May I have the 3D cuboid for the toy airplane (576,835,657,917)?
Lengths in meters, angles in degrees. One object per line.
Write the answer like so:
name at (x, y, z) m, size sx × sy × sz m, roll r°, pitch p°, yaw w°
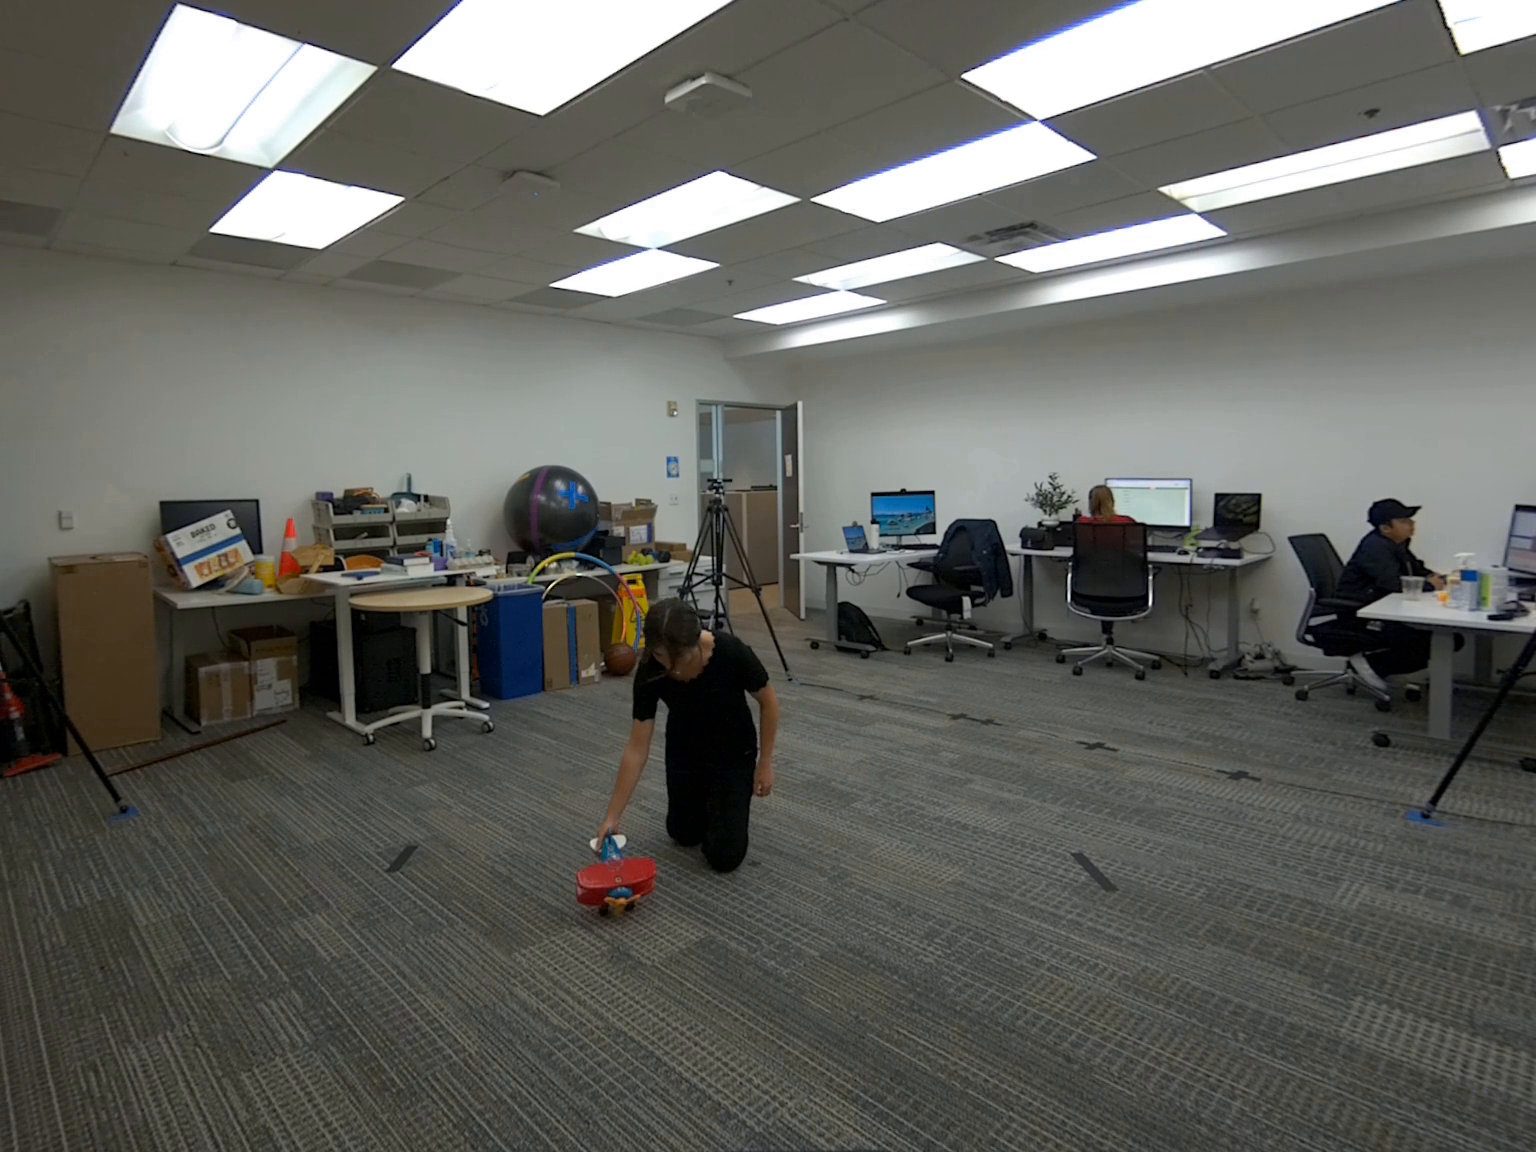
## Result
toy airplane at (-0.515, 0.971, 2.785) m, size 0.266 × 0.154 × 0.248 m, roll 43°, pitch 50°, yaw 21°
